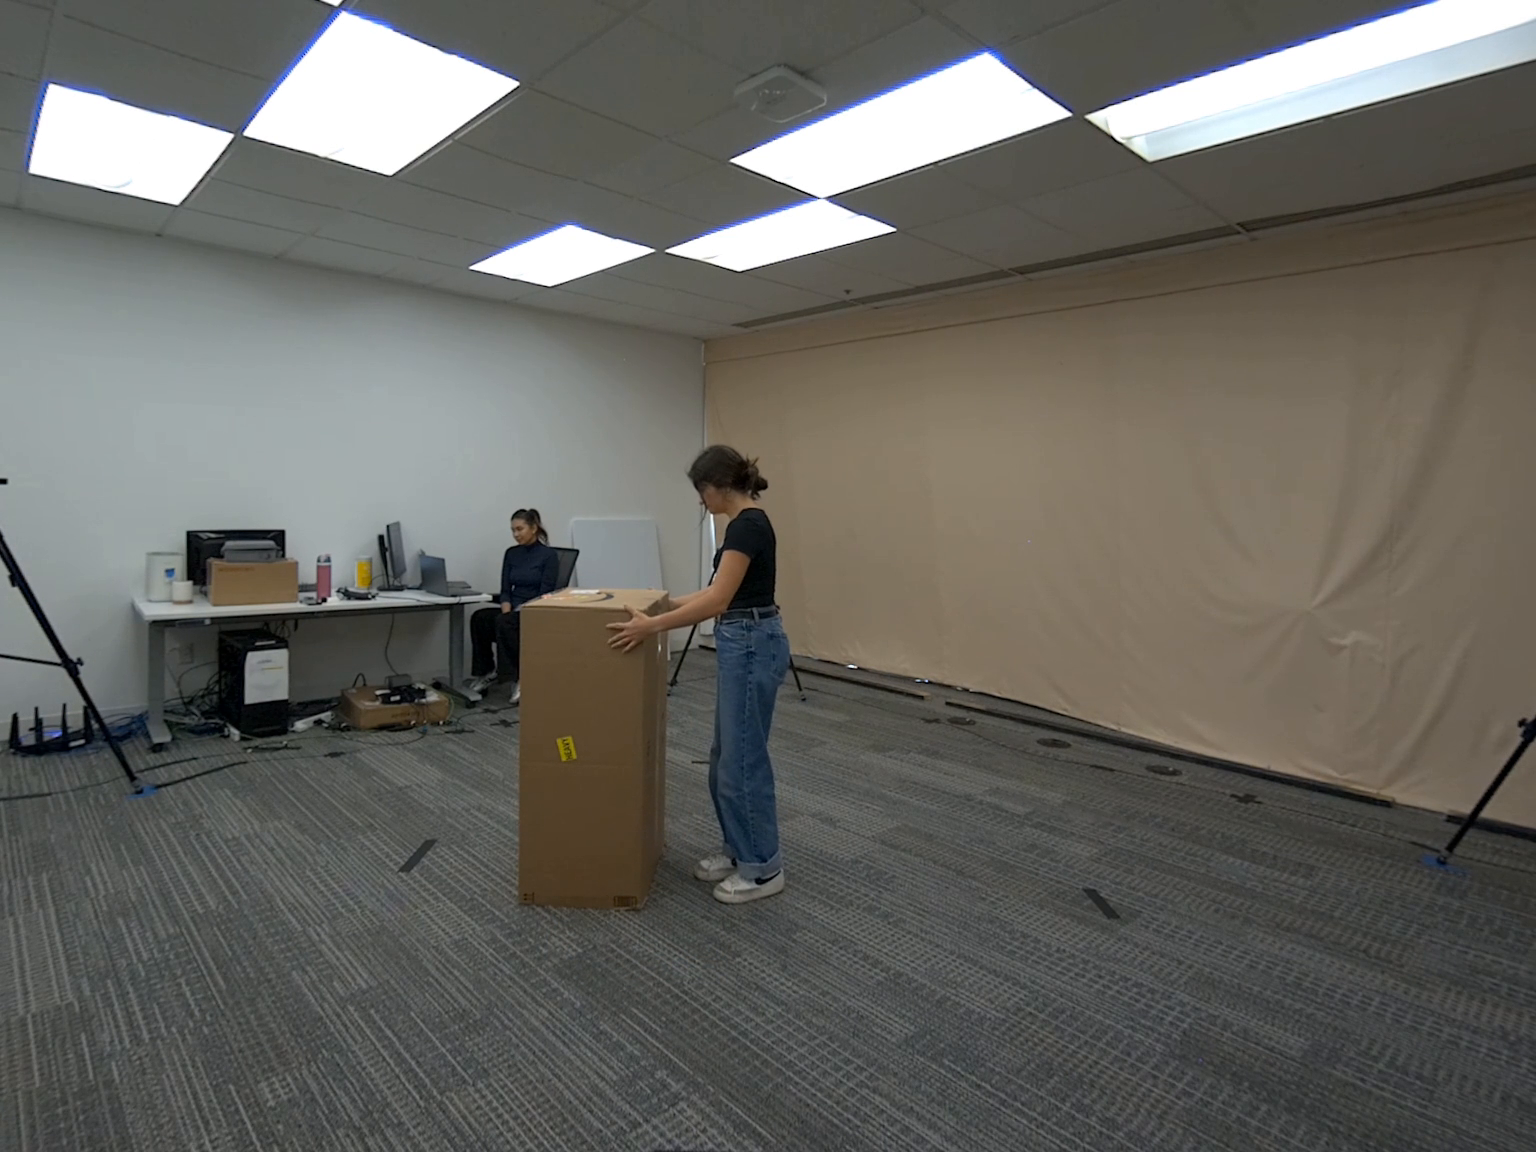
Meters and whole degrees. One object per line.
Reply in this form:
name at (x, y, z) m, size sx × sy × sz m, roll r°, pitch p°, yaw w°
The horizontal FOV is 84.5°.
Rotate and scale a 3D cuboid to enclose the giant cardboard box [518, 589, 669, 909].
giant cardboard box at (-0.629, 0.594, 3.092) m, size 0.427 × 1.023 × 0.578 m, roll 1°, pitch 4°, yaw 2°
